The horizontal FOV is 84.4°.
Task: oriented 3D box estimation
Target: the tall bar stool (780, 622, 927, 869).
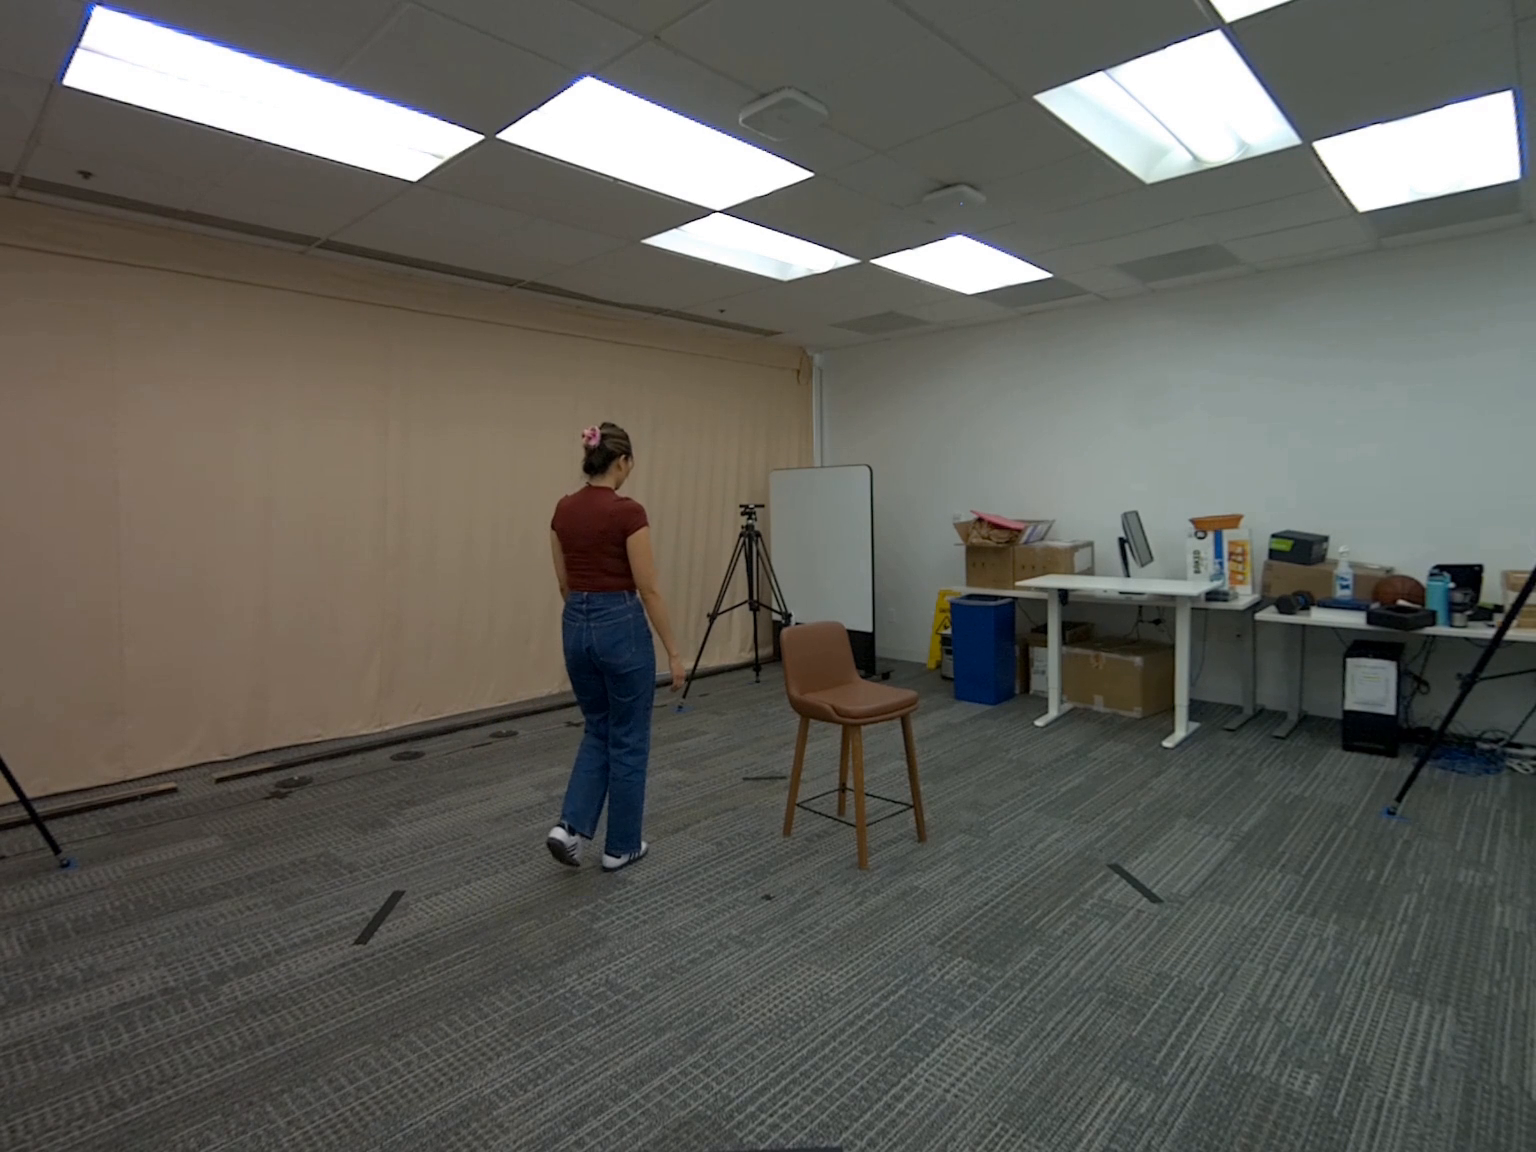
[{"bbox_3d":[0.344,0.656,3.475,0.442,0.889,0.483,-3,2,-43],"label":"tall bar stool"}]
